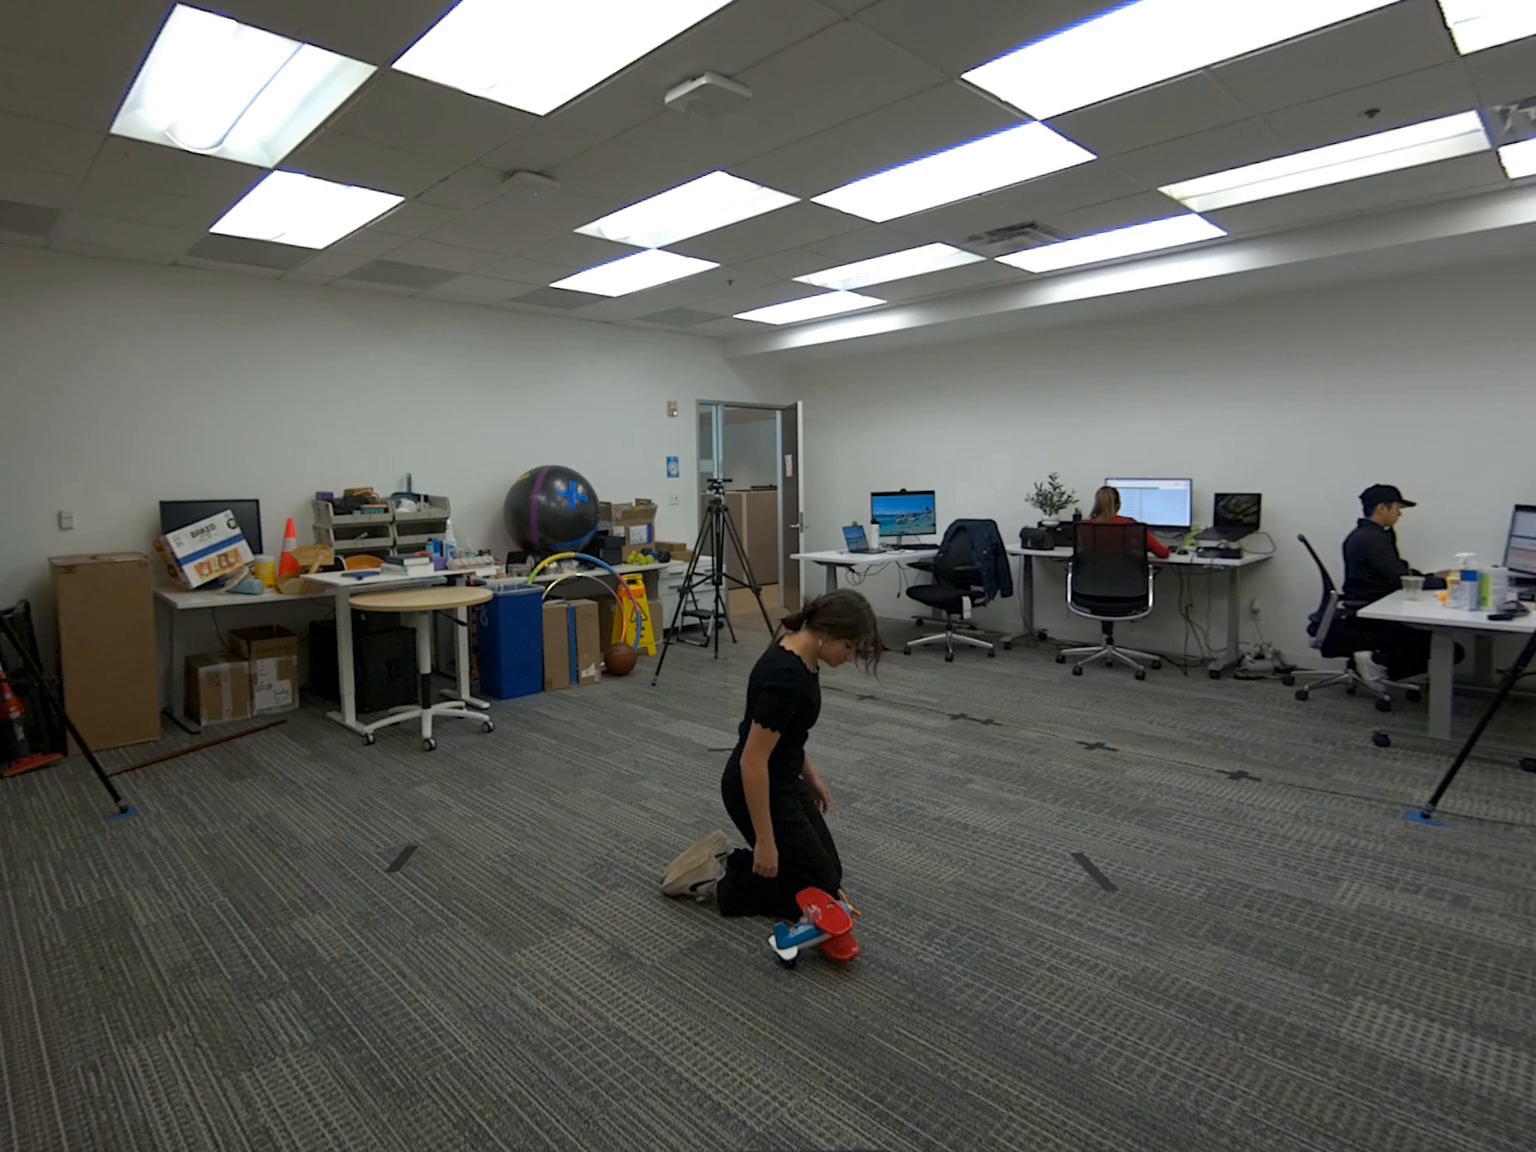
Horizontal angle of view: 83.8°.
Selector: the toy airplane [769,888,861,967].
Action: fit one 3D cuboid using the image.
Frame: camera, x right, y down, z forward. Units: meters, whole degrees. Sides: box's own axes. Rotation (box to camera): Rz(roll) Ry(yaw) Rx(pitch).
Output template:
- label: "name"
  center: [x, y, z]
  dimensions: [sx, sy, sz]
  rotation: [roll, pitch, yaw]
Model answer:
- label: "toy airplane"
  center: [0.150, 1.046, 2.471]
  dimensions: [0.259, 0.156, 0.253]
  rotation: [5, 8, 38]
